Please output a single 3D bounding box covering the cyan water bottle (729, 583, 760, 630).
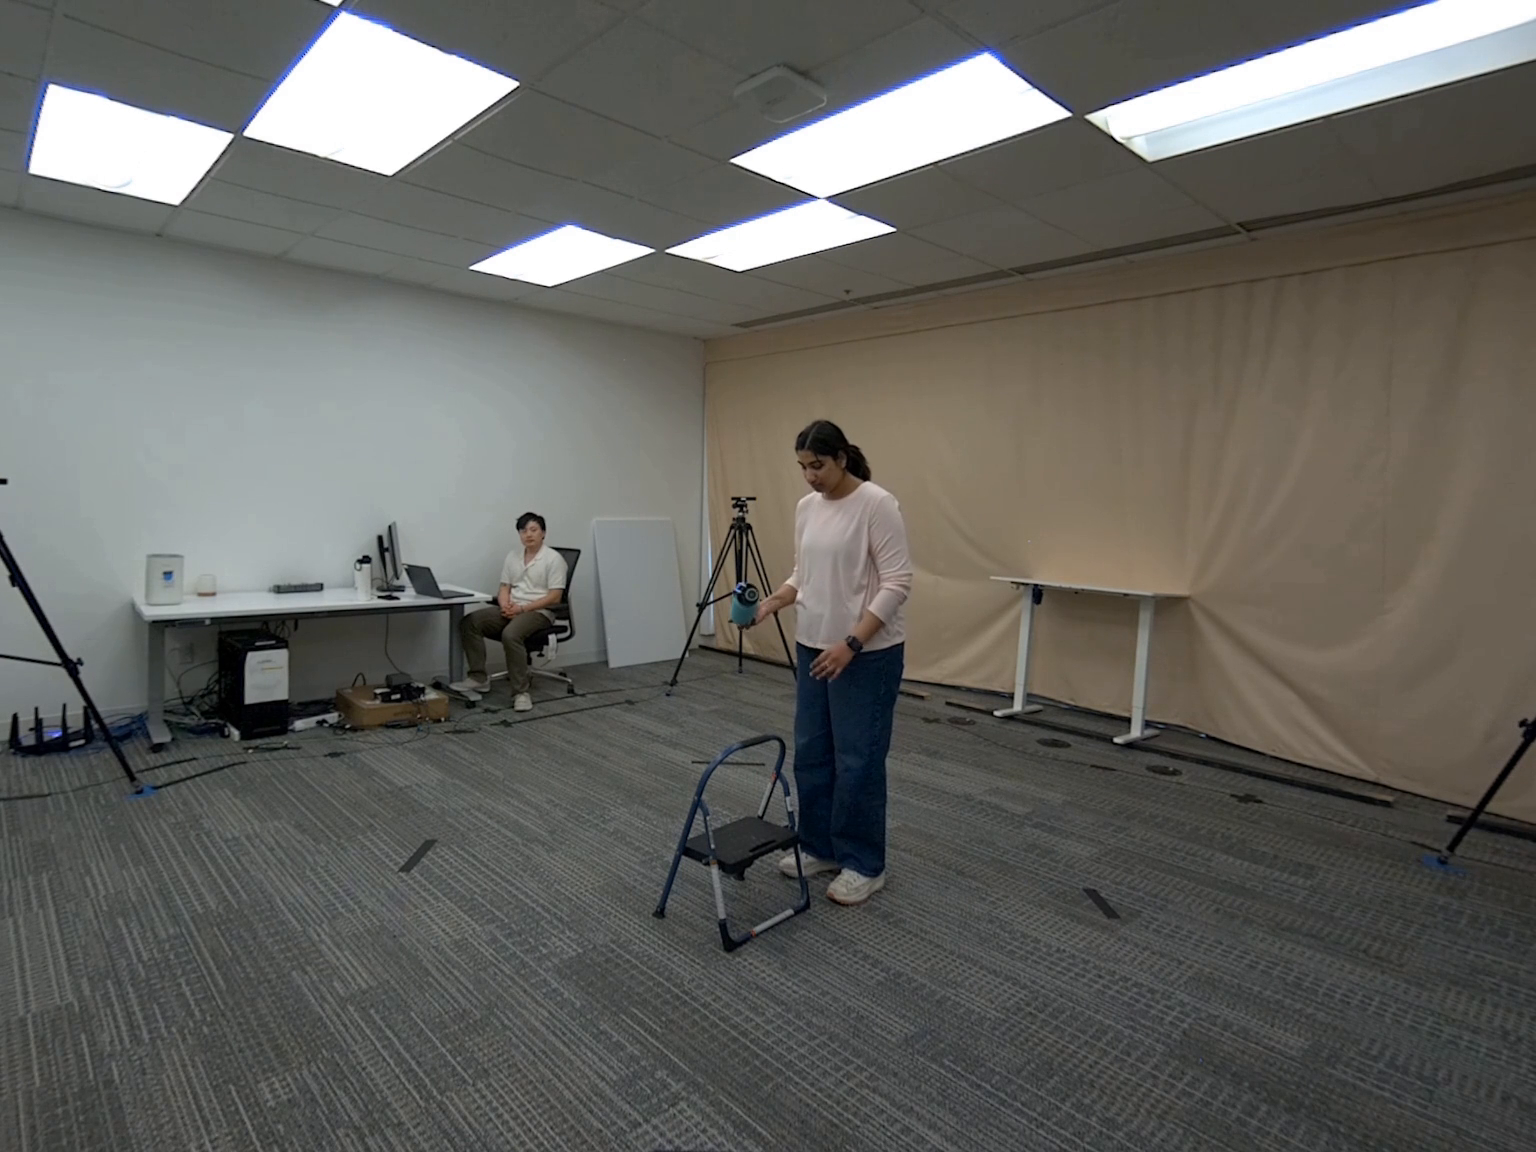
[{"bbox_3d":[-0.084,0.099,2.906,0.092,0.093,0.280,2,-17,-3],"label":"cyan water bottle"}]
